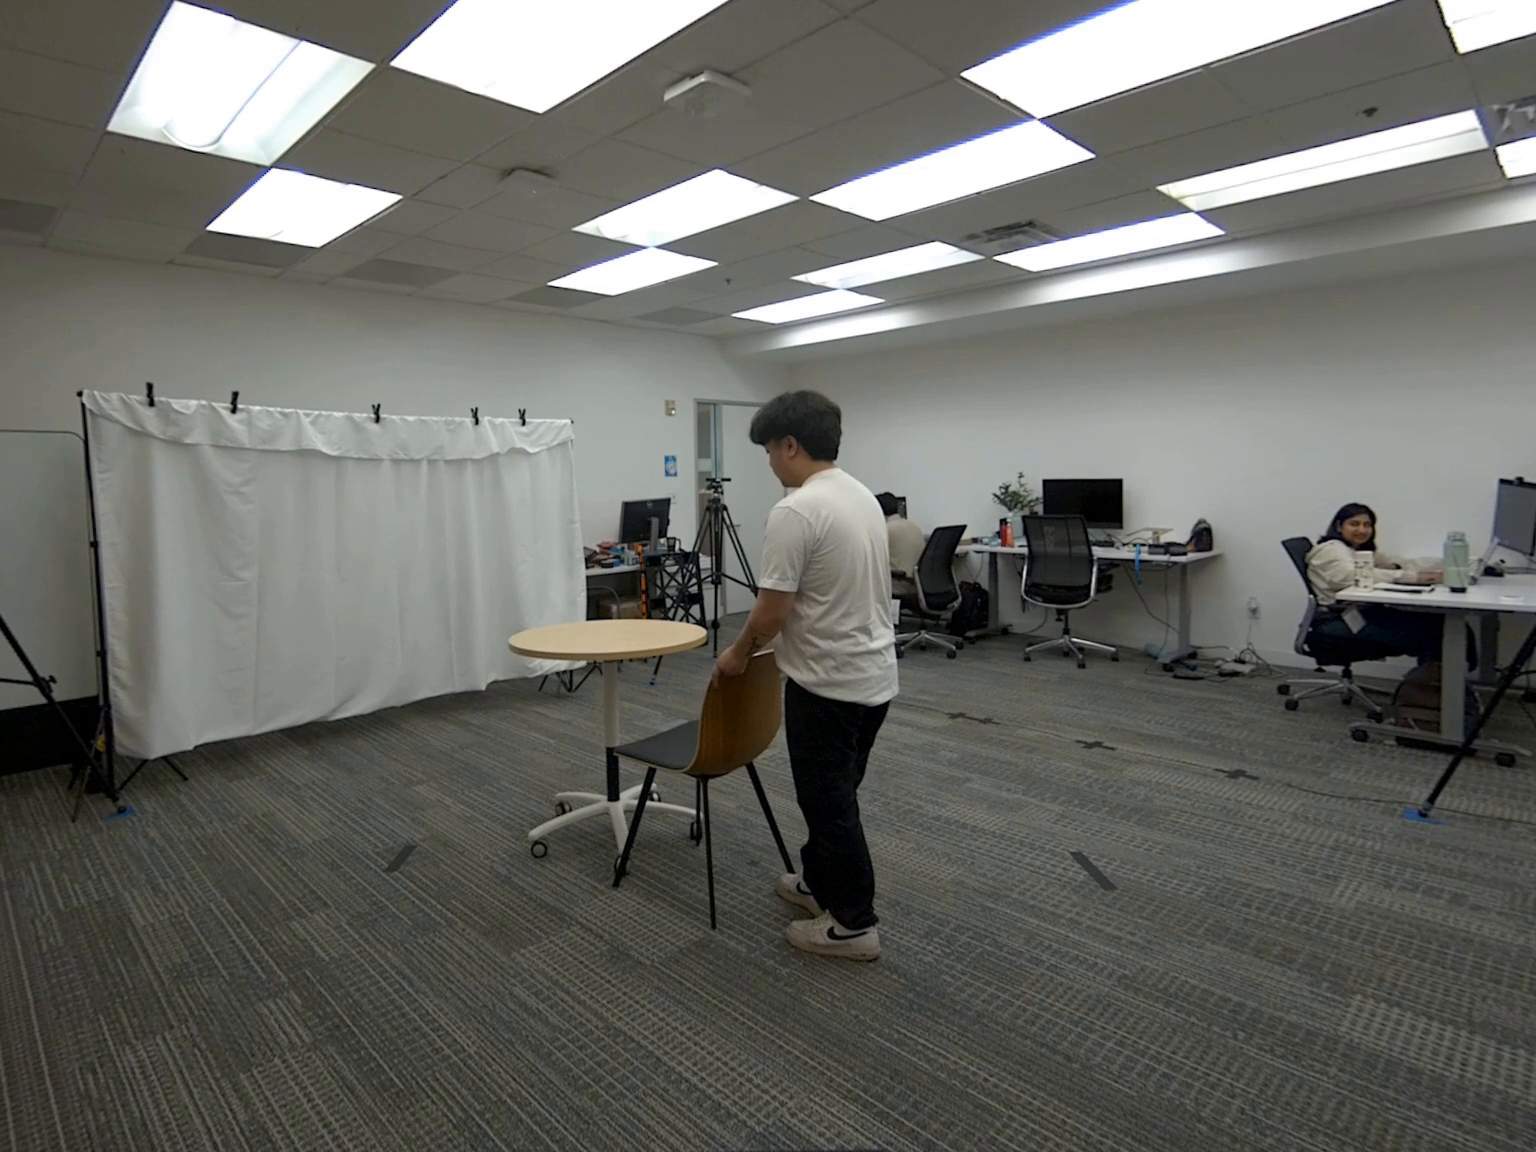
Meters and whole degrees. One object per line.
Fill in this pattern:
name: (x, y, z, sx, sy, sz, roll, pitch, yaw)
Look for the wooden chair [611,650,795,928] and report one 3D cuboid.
wooden chair: (-0.228, 0.636, 2.932, 0.540, 0.871, 0.466, 9, 10, 37)
